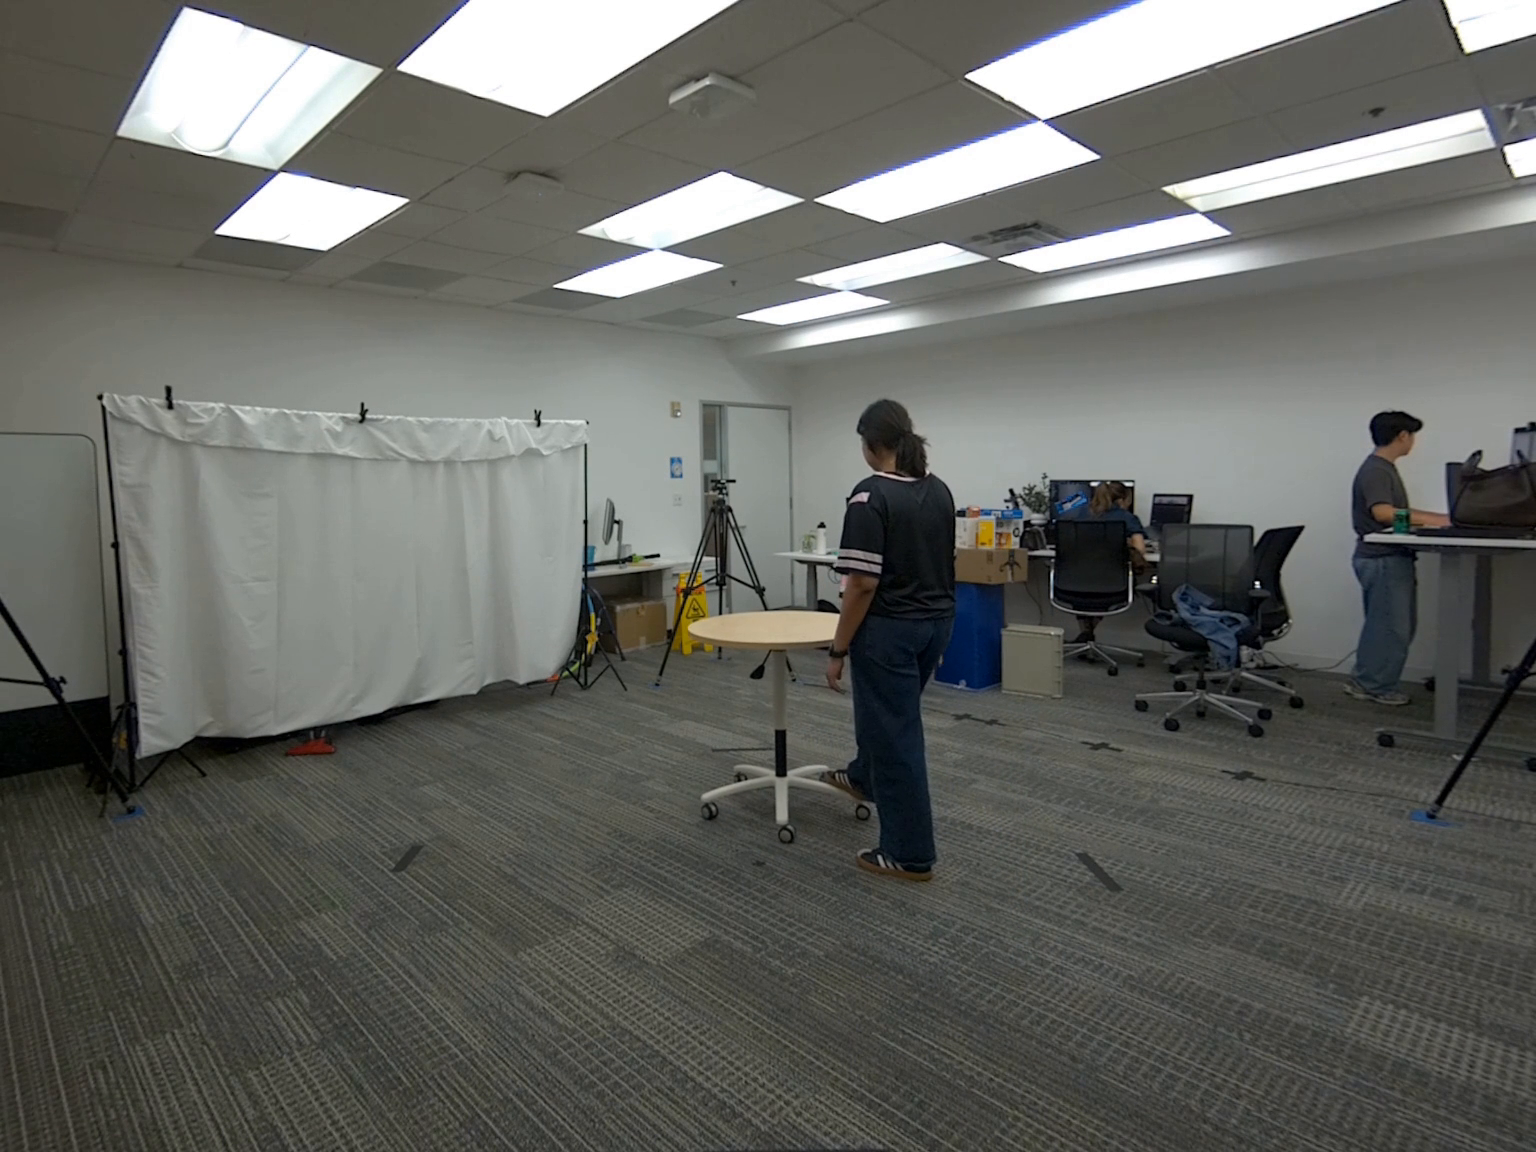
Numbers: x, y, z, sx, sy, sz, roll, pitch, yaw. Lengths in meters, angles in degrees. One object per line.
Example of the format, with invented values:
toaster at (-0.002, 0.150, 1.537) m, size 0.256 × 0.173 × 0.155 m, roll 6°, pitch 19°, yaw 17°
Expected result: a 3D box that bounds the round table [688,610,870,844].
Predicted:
round table at (0.057, 0.600, 3.611) m, size 0.763 × 0.791 × 0.768 m, roll -1°, pitch 5°, yaw -2°
